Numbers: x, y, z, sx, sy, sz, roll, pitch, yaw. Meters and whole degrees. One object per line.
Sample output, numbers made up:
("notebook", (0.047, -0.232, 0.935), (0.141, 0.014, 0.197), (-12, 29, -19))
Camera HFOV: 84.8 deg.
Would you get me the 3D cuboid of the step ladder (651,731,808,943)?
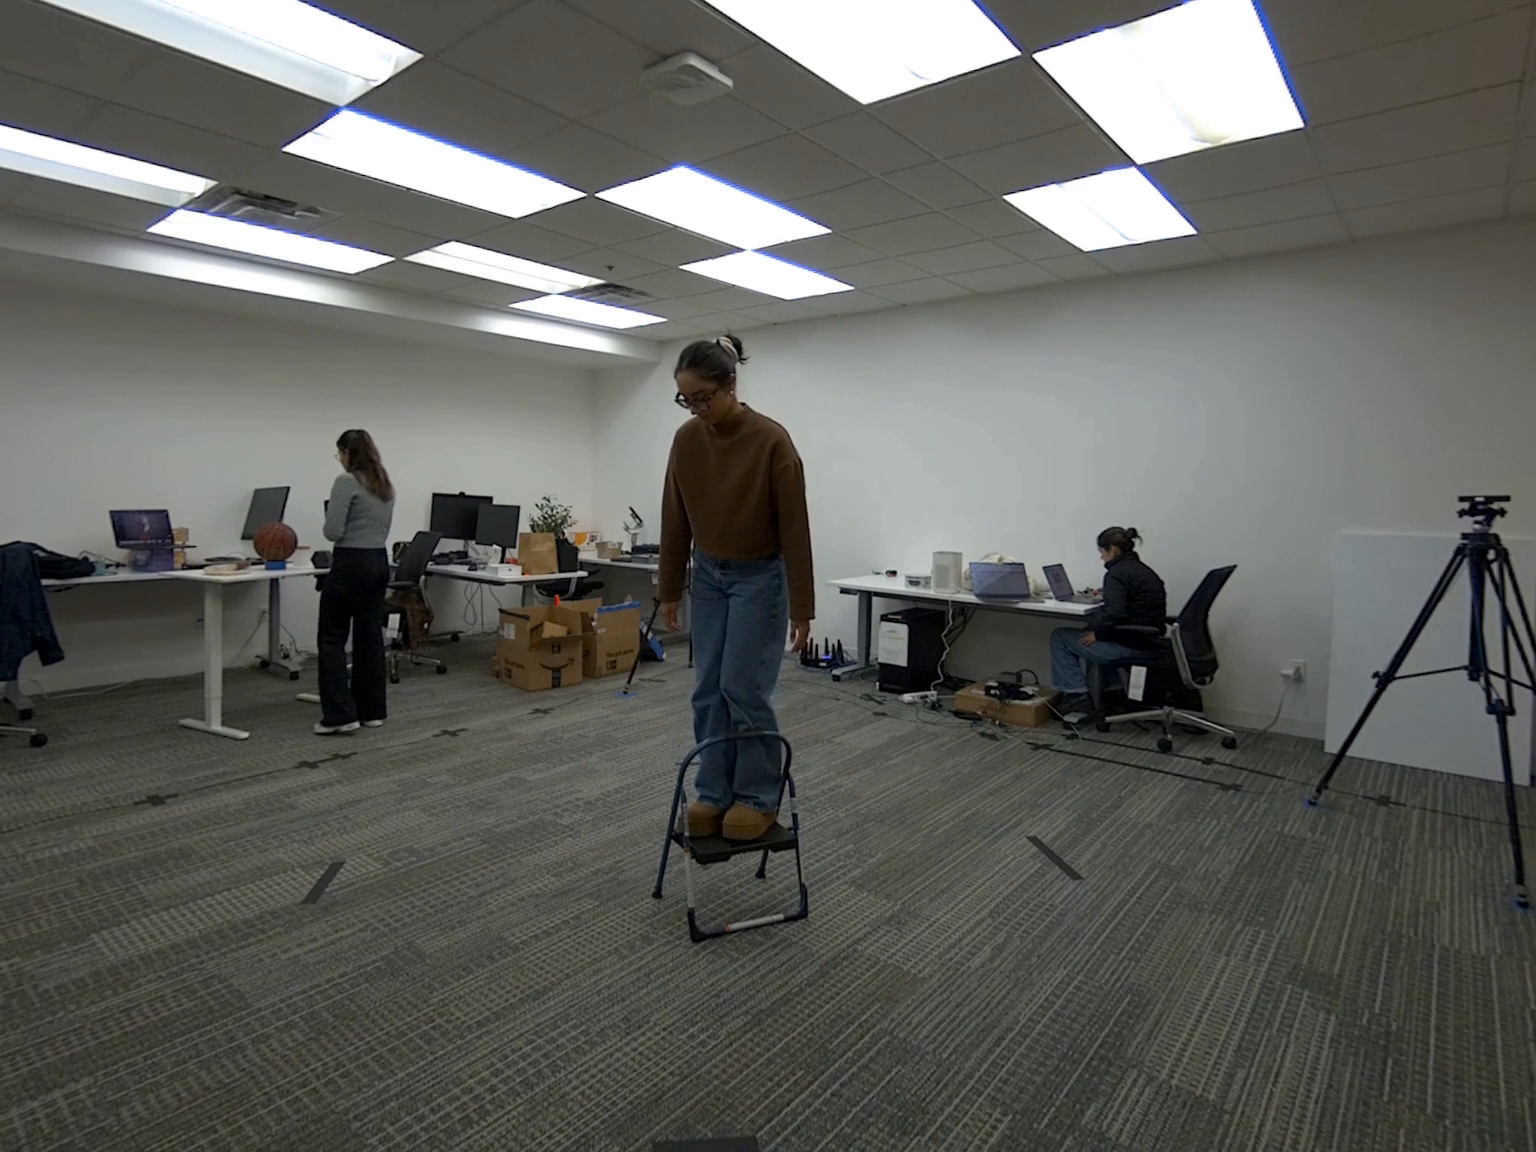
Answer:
("step ladder", (-0.132, 0.797, 2.814), (0.420, 0.604, 0.359), (-1, 3, -27))
